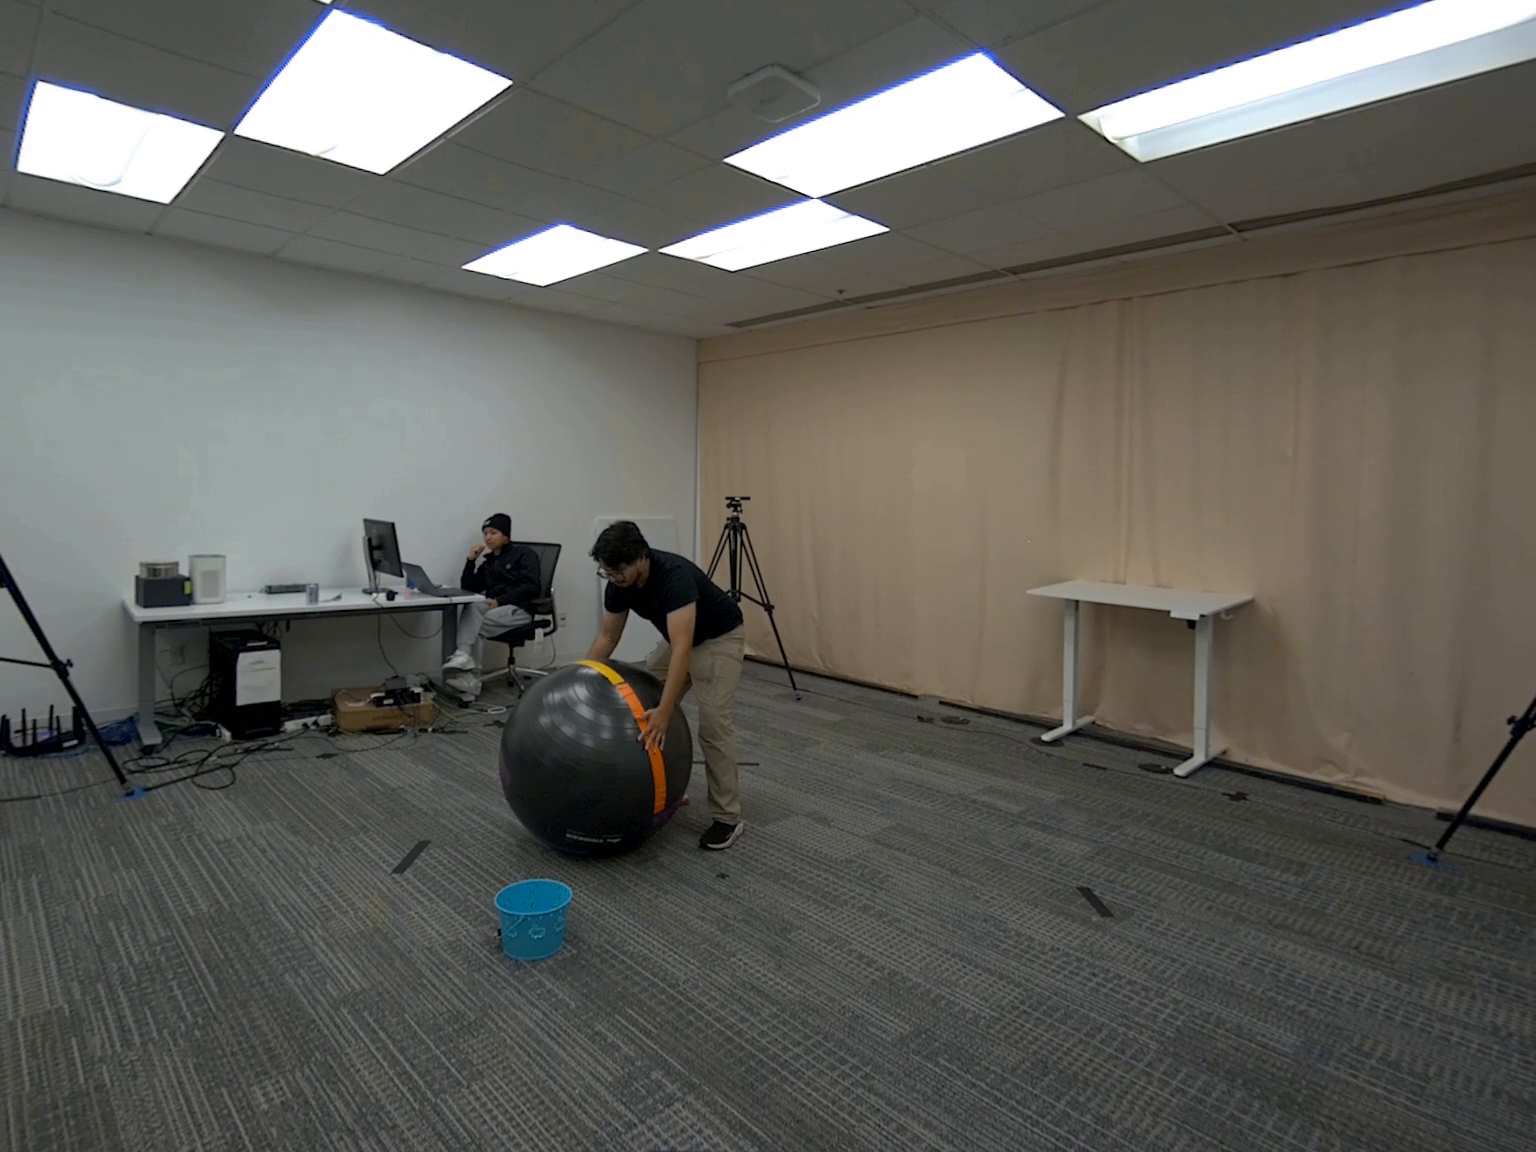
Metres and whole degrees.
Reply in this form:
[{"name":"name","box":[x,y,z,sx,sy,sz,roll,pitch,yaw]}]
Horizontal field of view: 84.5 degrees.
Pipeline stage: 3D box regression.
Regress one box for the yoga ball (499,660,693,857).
[{"name":"yoga ball","box":[-0.688,0.725,3.348,0.757,0.756,0.761,1,4,-1]}]
